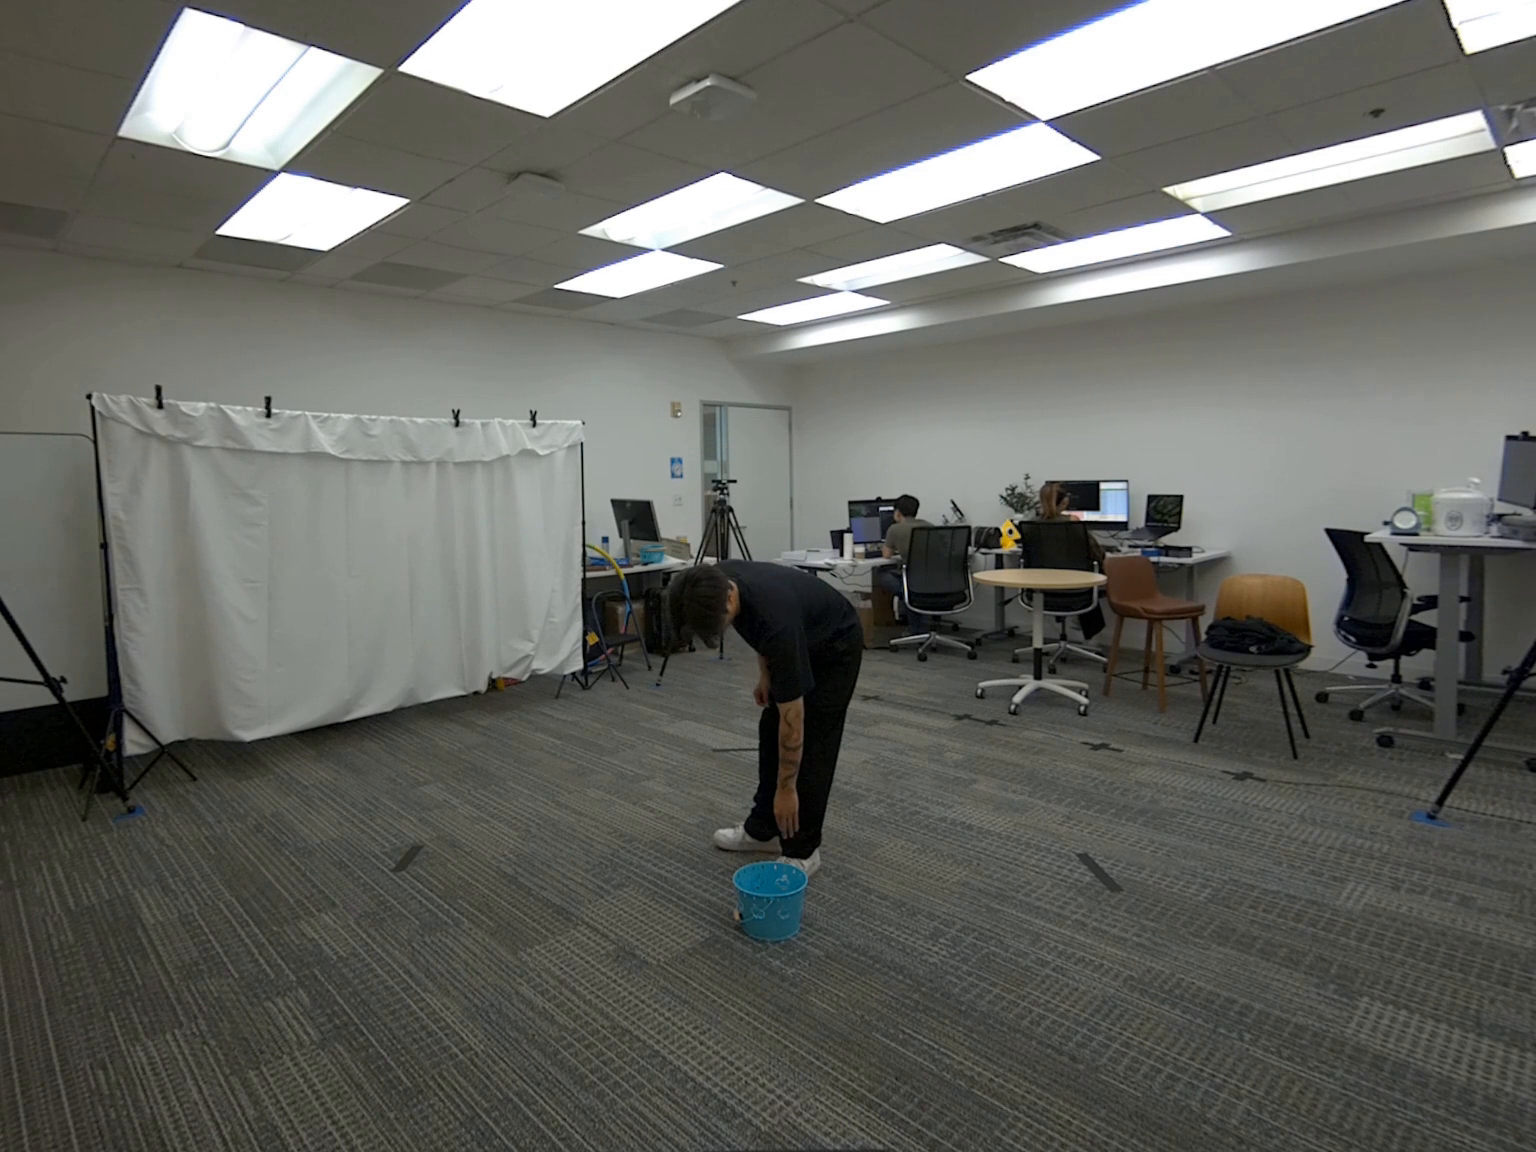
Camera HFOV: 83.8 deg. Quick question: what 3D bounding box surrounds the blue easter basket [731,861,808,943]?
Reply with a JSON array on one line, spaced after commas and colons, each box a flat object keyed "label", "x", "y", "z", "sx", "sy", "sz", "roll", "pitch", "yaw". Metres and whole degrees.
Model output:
[{"label": "blue easter basket", "x": 0.012, "y": 1.020, "z": 2.669, "sx": 0.243, "sy": 0.155, "sz": 0.245, "roll": -1, "pitch": 5, "yaw": -2}]
